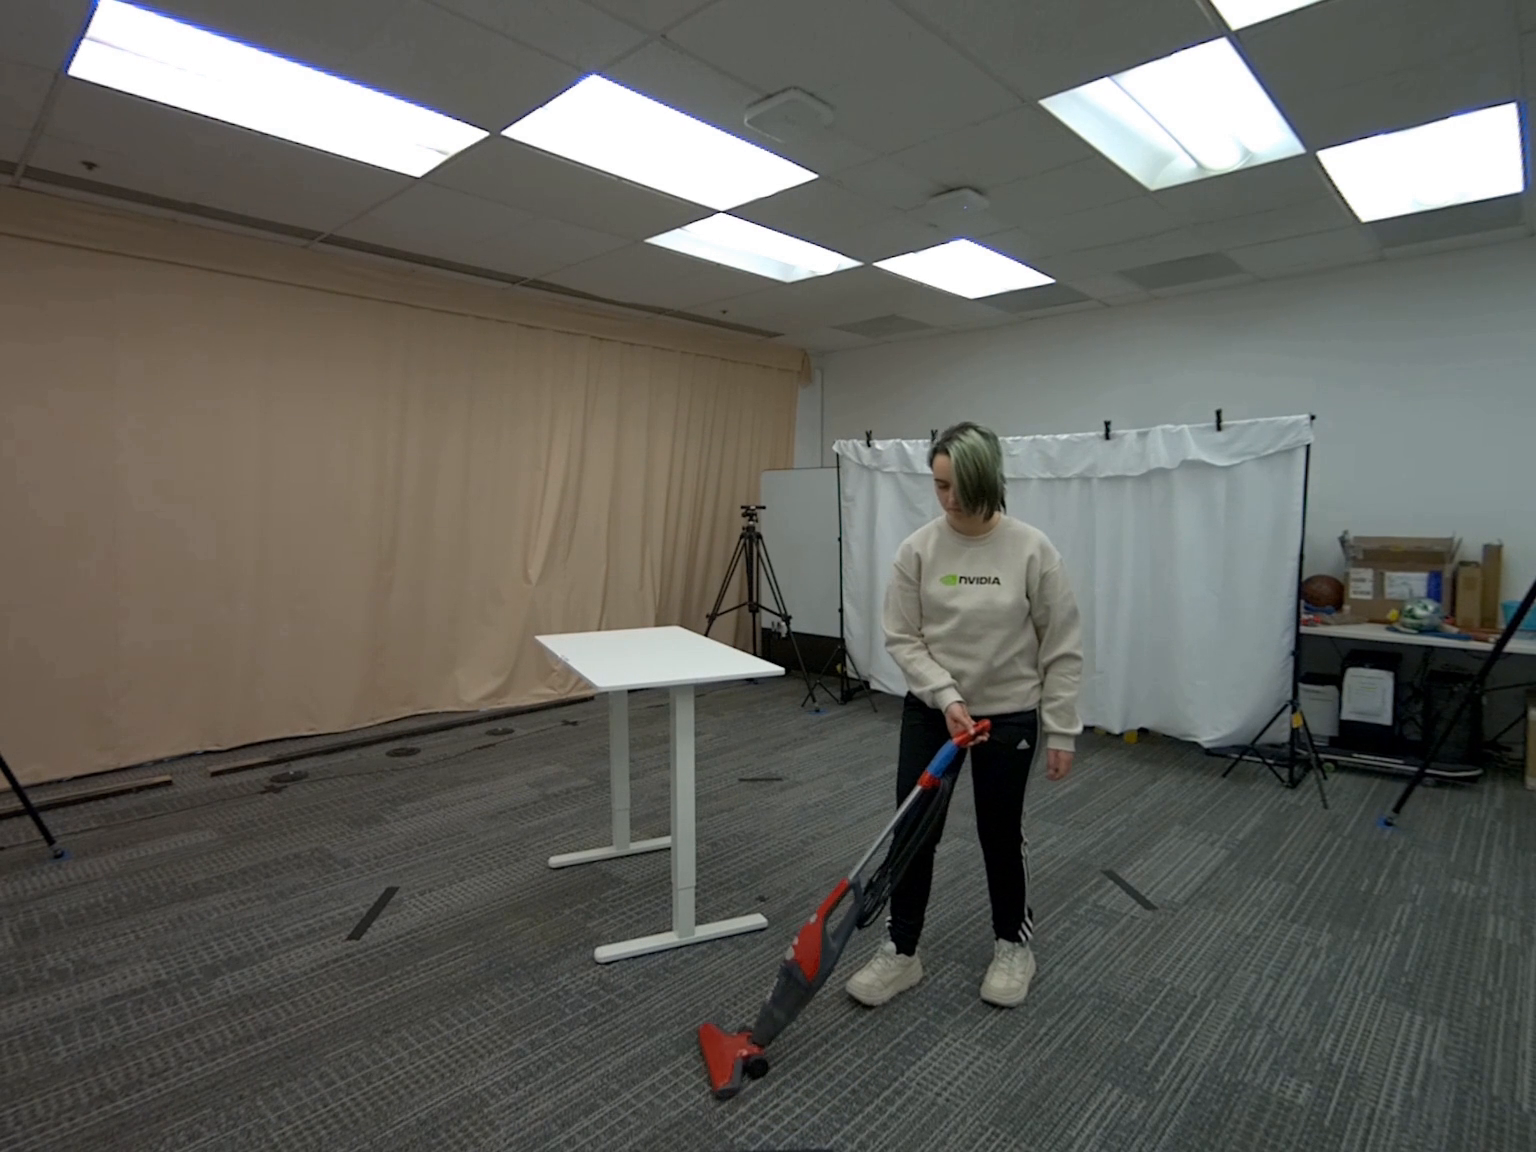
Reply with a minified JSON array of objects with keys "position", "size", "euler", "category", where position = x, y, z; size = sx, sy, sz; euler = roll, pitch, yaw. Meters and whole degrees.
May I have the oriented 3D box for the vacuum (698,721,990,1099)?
[{"position":[0.241,0.813,2.142],"size":[0.142,1.047,0.256],"euler":[42,-7,-11],"category":"vacuum"}]
